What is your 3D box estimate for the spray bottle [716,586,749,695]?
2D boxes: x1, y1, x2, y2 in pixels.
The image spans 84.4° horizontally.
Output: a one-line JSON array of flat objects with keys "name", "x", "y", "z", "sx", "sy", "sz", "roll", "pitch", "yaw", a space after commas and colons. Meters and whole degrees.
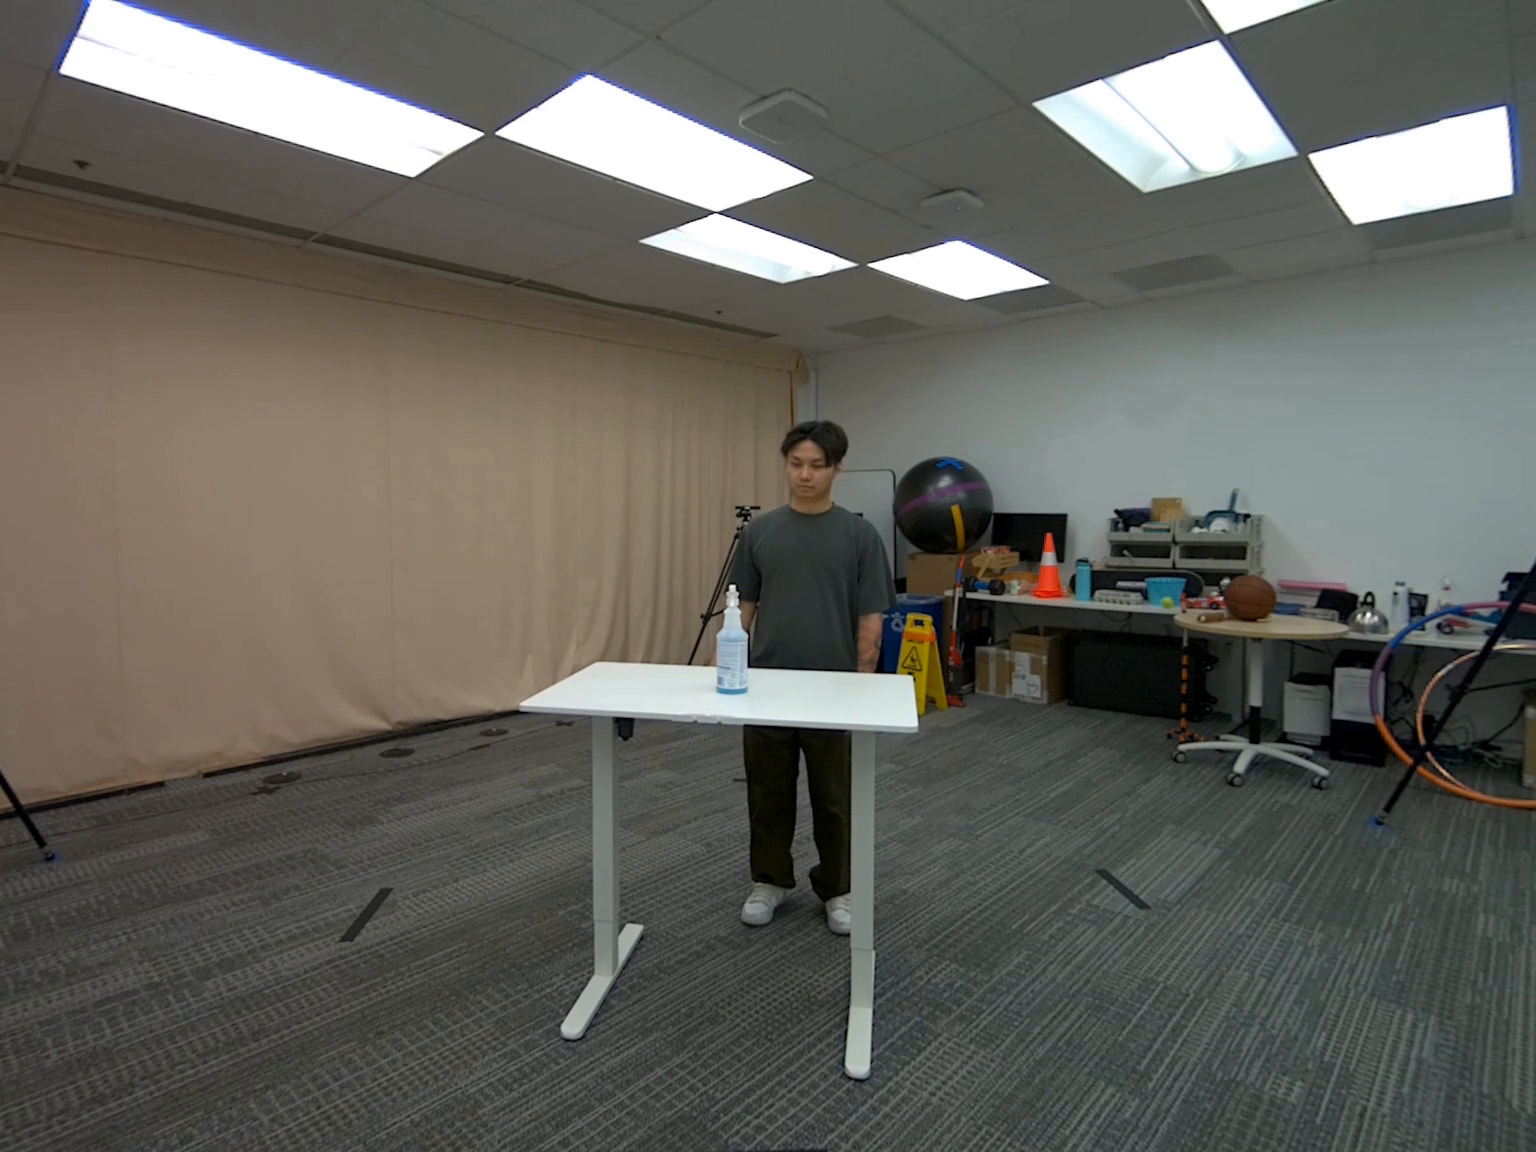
[{"name": "spray bottle", "x": -0.095, "y": 0.173, "z": 2.315, "sx": 0.089, "sy": 0.296, "sz": 0.088, "roll": 2, "pitch": 4, "yaw": 24}]
